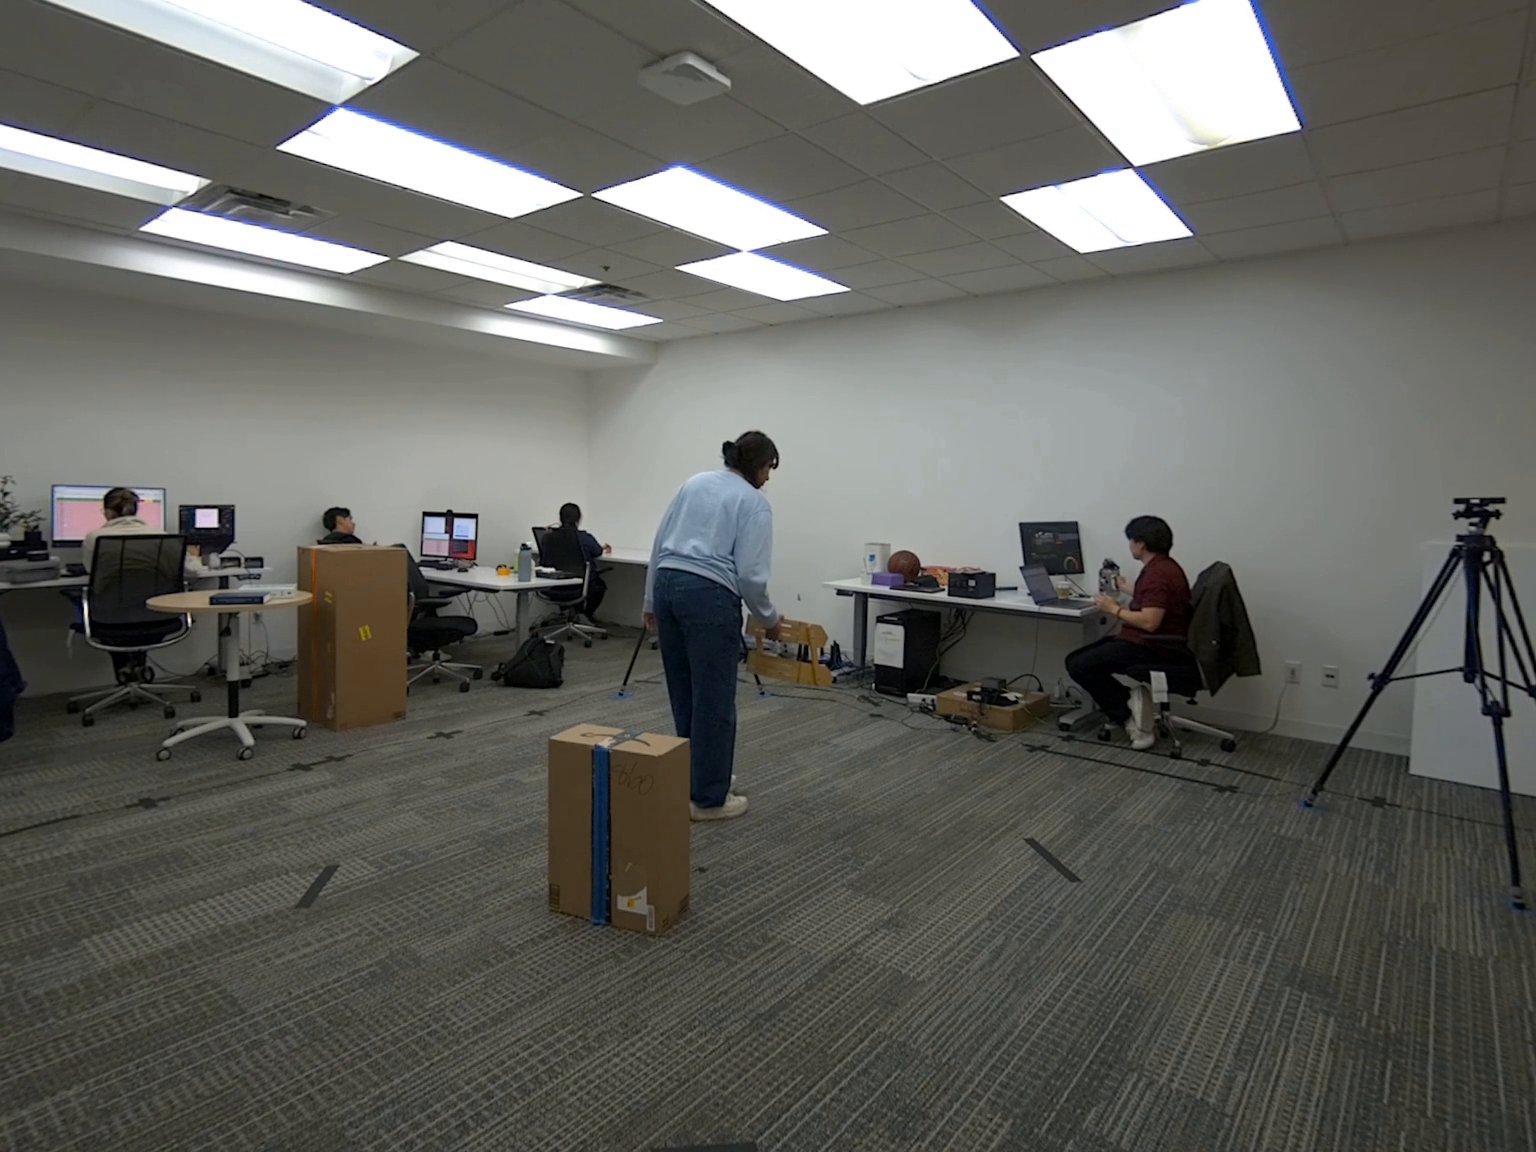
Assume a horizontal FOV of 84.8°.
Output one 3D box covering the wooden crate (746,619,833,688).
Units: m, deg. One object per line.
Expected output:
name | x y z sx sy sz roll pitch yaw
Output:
wooden crate | 0.088 0.324 3.791 0.335 0.274 0.290 5 -7 40
